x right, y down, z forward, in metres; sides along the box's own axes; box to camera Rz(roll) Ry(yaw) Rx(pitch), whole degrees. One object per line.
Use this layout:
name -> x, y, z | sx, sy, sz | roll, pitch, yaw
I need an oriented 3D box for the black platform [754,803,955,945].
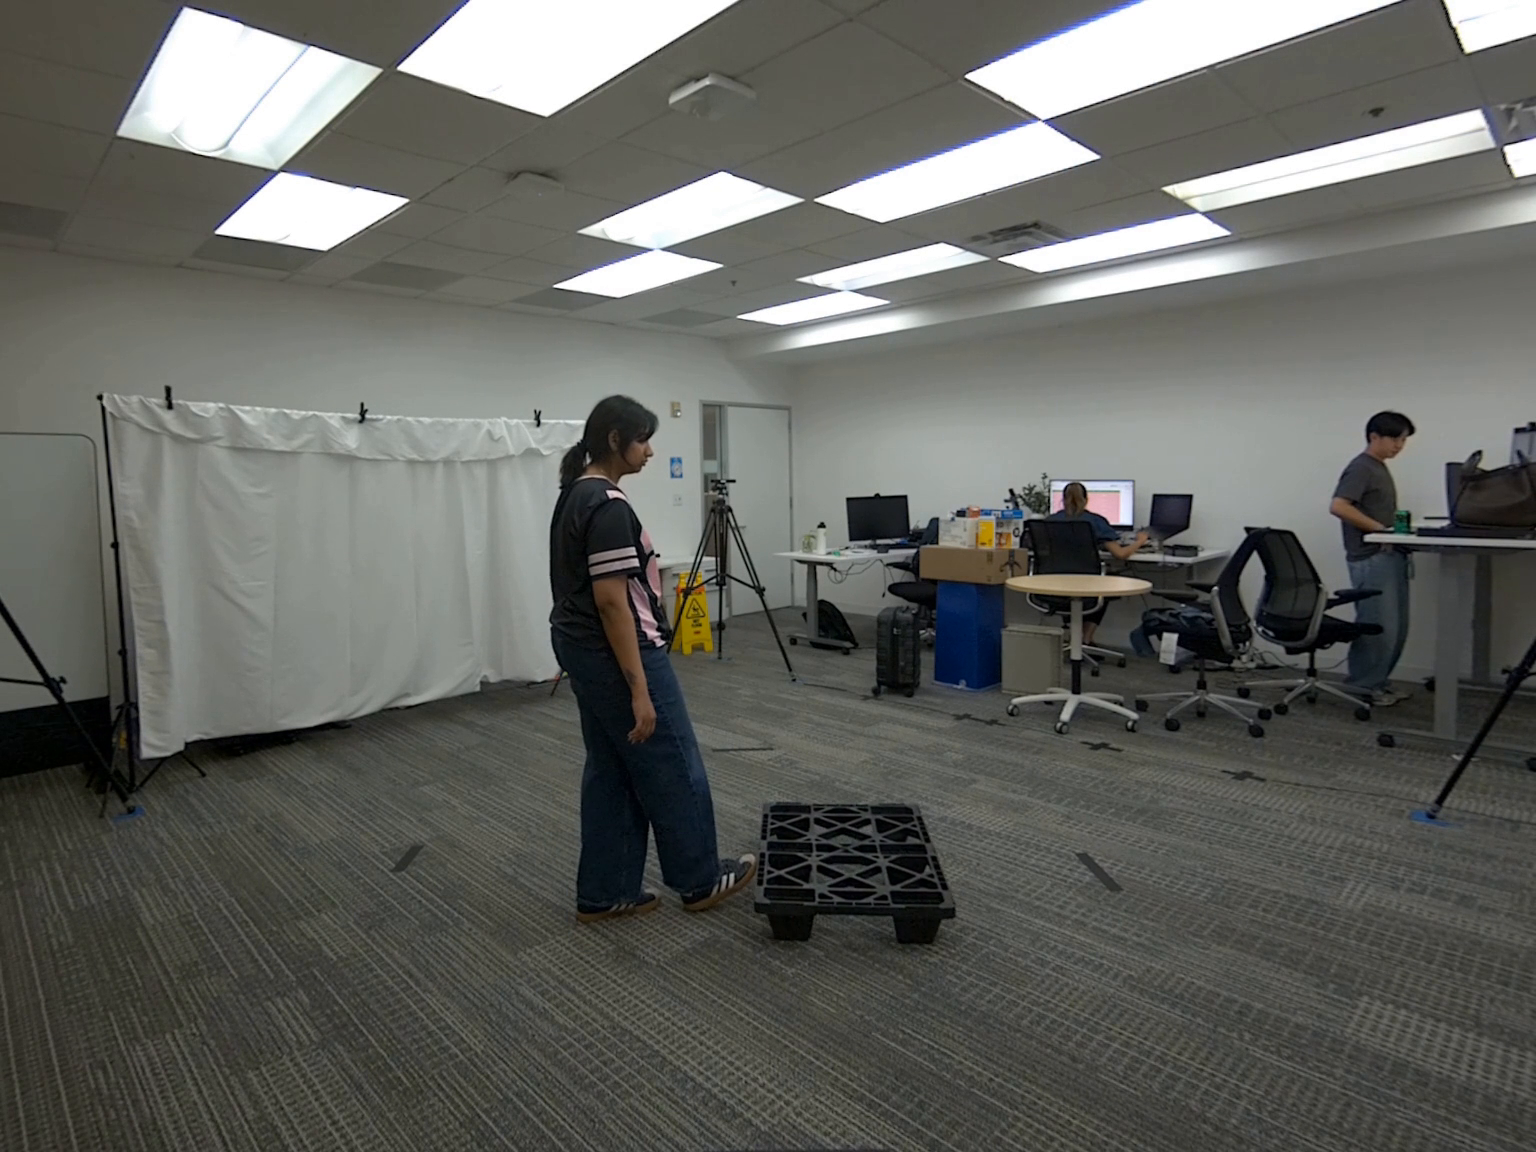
black platform -> 0.278, 0.994, 2.928 | 0.607, 0.143, 0.806 | -1, 6, 3
